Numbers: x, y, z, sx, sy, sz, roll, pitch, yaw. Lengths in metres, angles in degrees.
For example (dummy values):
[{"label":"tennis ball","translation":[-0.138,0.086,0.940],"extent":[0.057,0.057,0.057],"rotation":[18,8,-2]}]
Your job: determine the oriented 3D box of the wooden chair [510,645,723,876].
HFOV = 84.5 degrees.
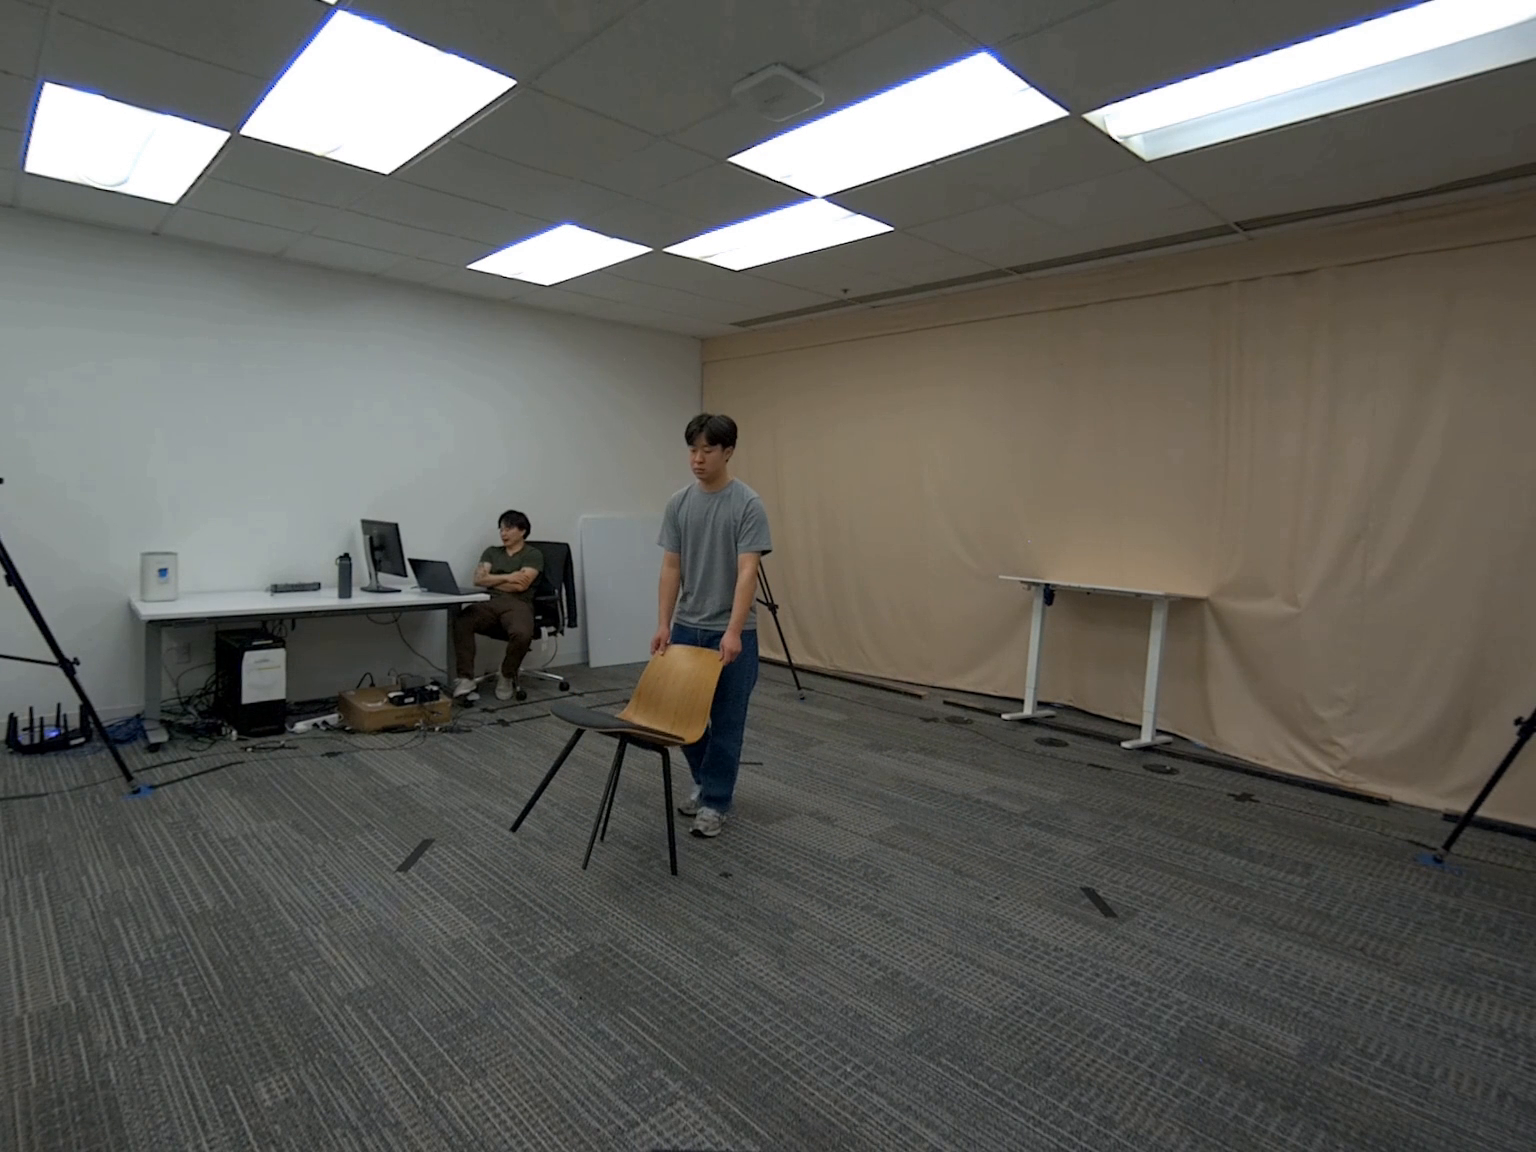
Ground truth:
[{"label":"wooden chair","translation":[-0.540,0.610,3.146],"extent":[0.490,0.883,0.506],"rotation":[5,-19,41]}]
